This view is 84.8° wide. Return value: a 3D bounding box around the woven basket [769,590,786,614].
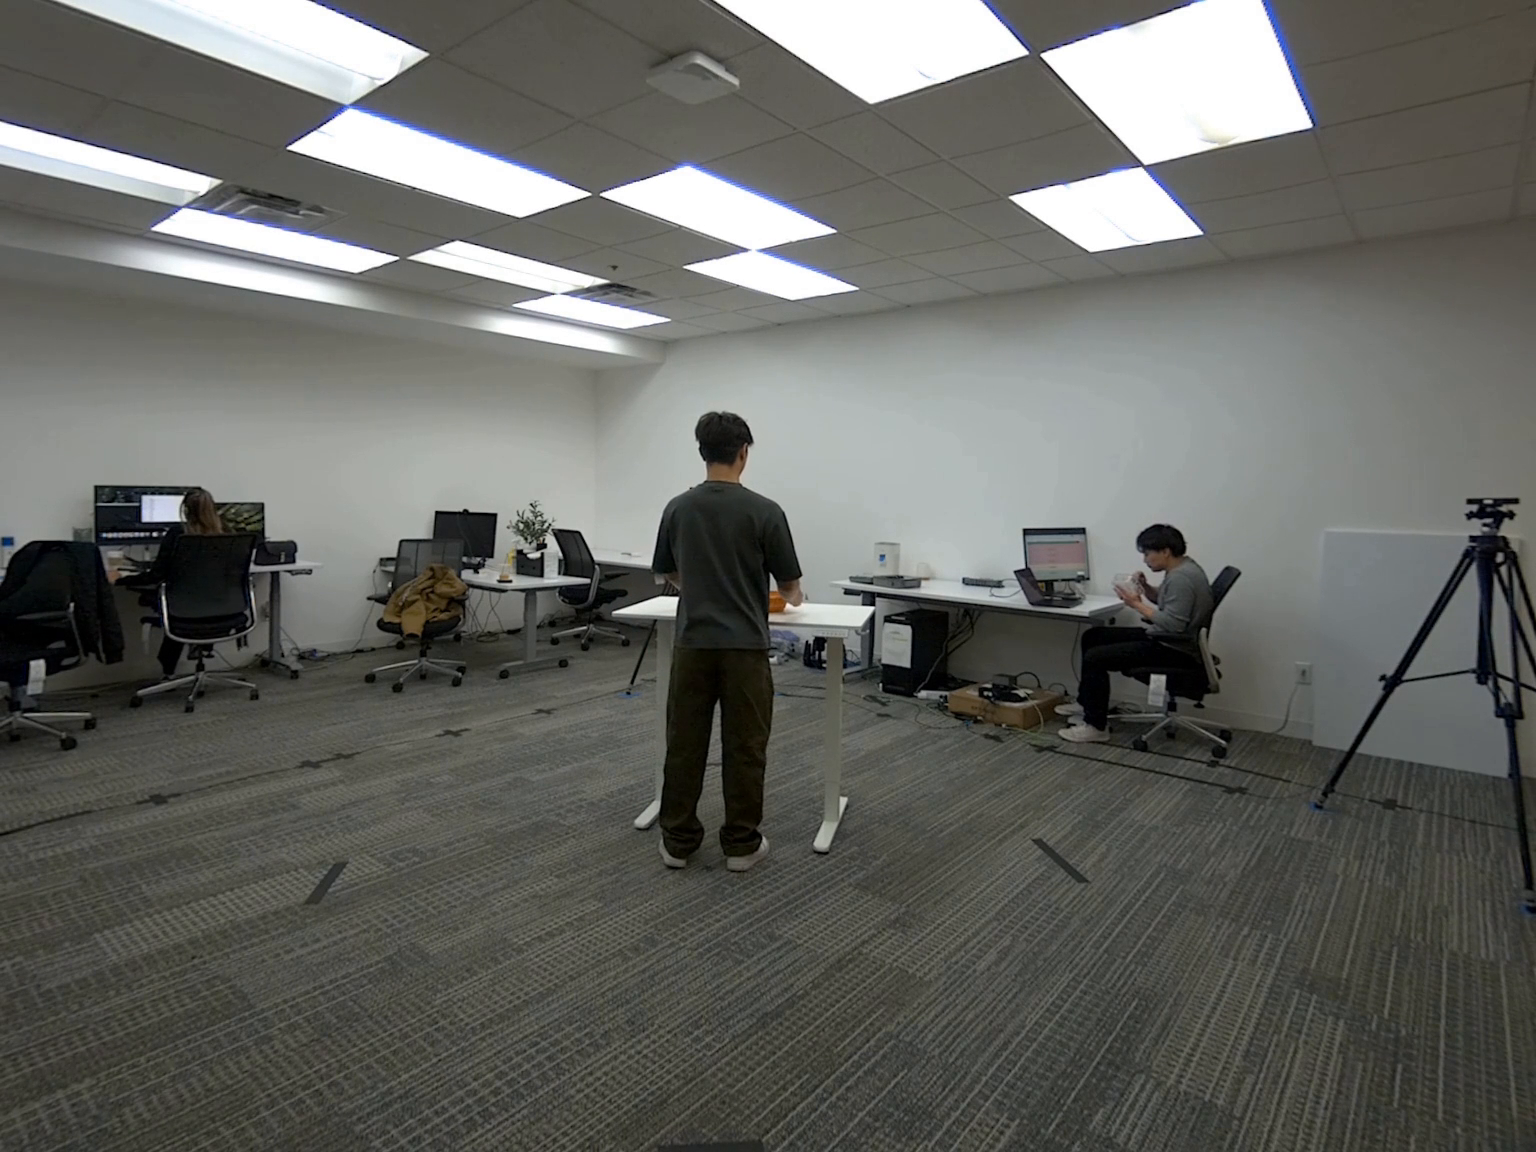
[{"bbox_3d":[-0.088,0.105,3.589,0.357,0.073,0.248,2,5,18],"label":"woven basket"}]
